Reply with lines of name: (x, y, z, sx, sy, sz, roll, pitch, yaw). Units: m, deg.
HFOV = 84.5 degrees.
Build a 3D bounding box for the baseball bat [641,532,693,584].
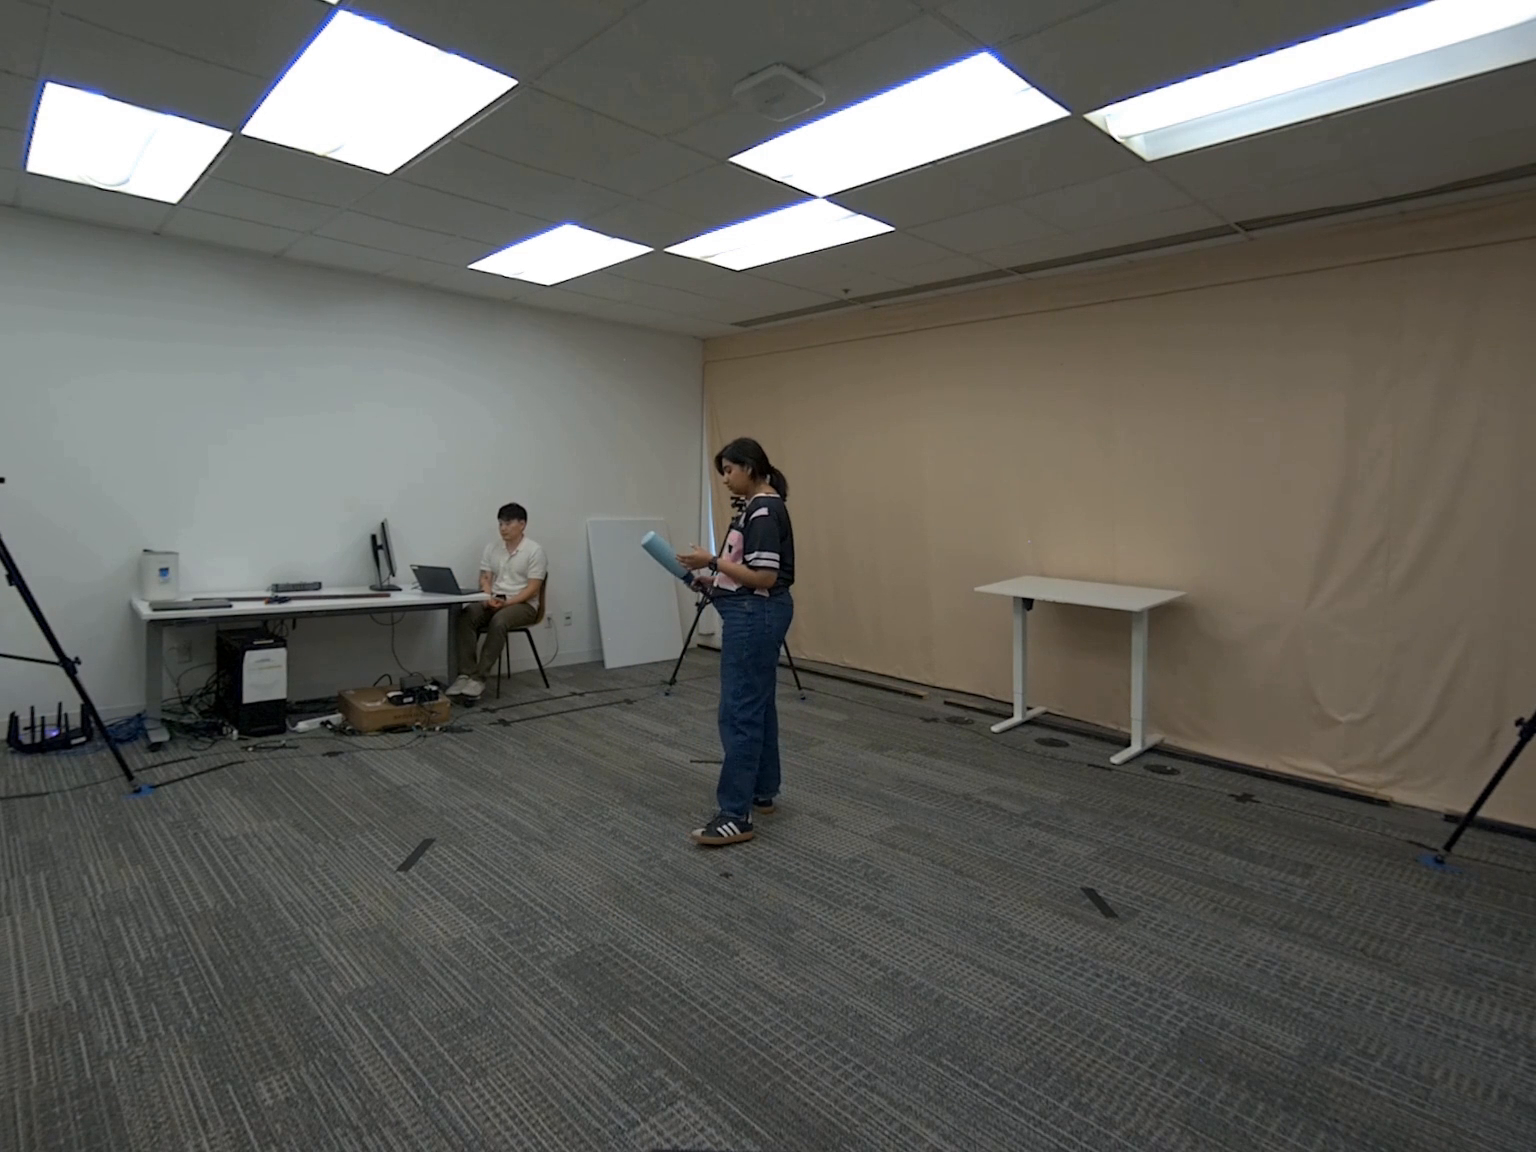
baseball bat: (-0.375, -0.002, 3.851, 0.530, 0.089, 0.091, 46, -18, -24)
